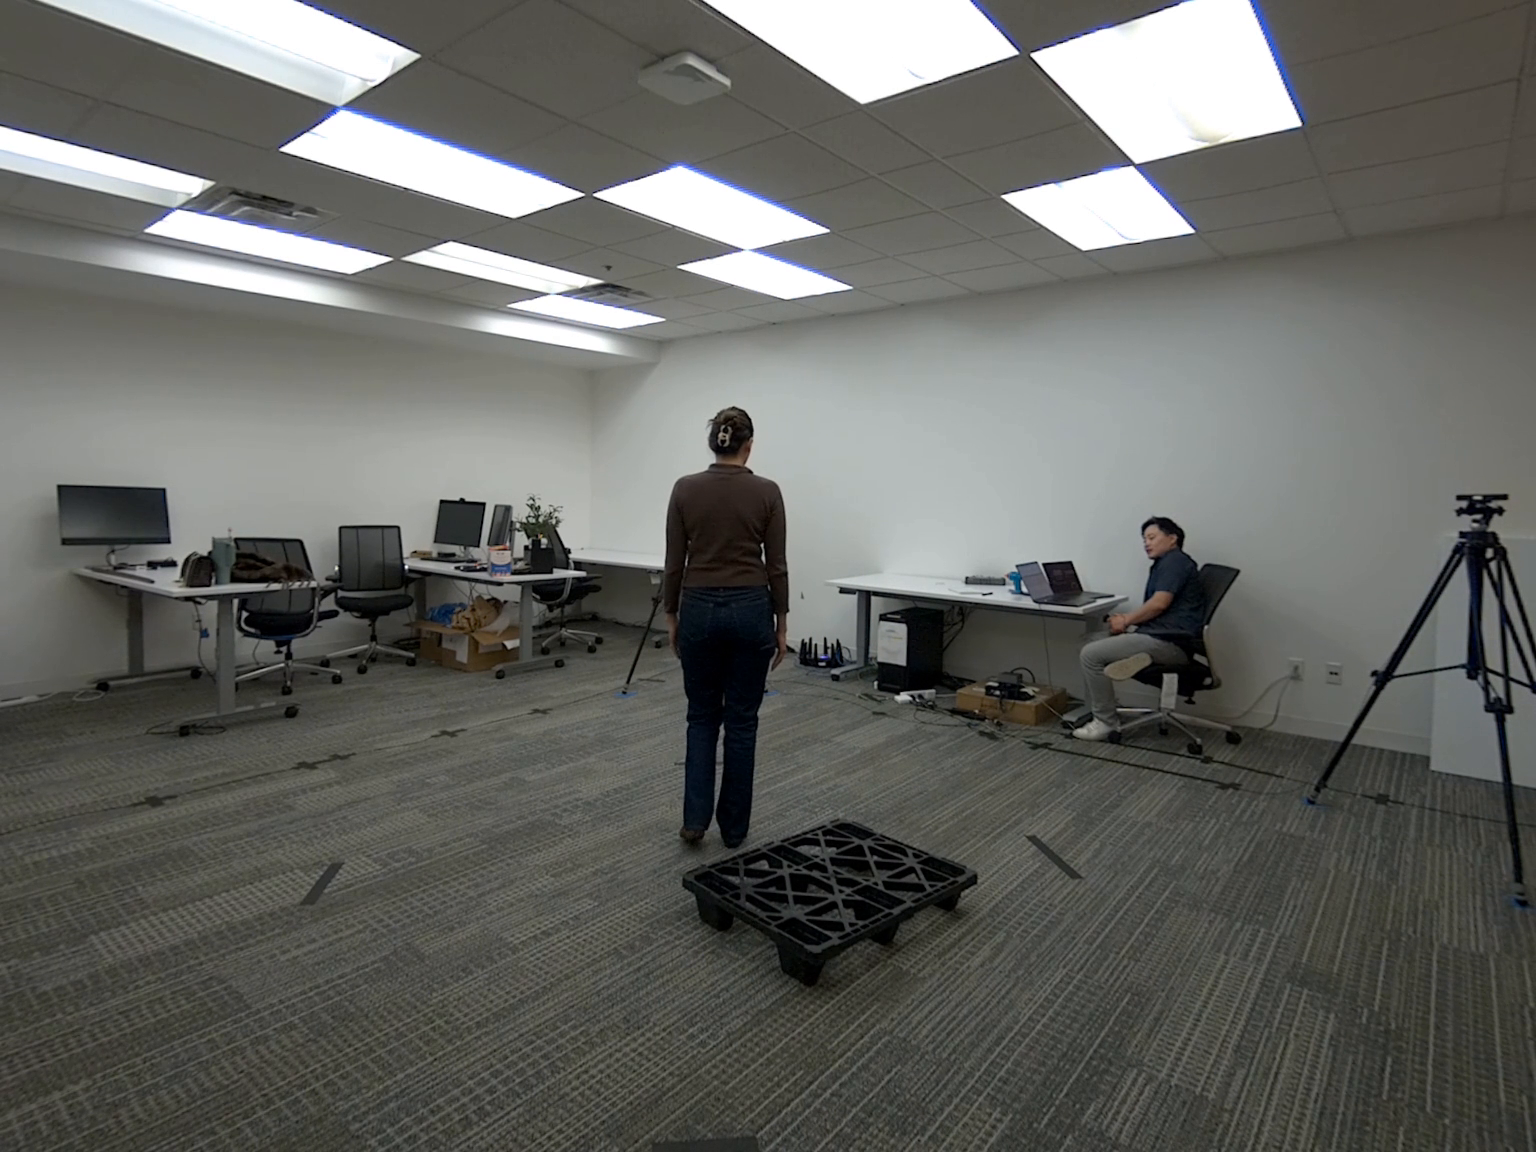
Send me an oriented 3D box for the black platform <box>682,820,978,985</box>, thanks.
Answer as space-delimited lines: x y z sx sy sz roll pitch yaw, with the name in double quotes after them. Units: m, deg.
0.198 1.039 2.787 0.781 0.143 0.626 -4 7 -43 "black platform"
